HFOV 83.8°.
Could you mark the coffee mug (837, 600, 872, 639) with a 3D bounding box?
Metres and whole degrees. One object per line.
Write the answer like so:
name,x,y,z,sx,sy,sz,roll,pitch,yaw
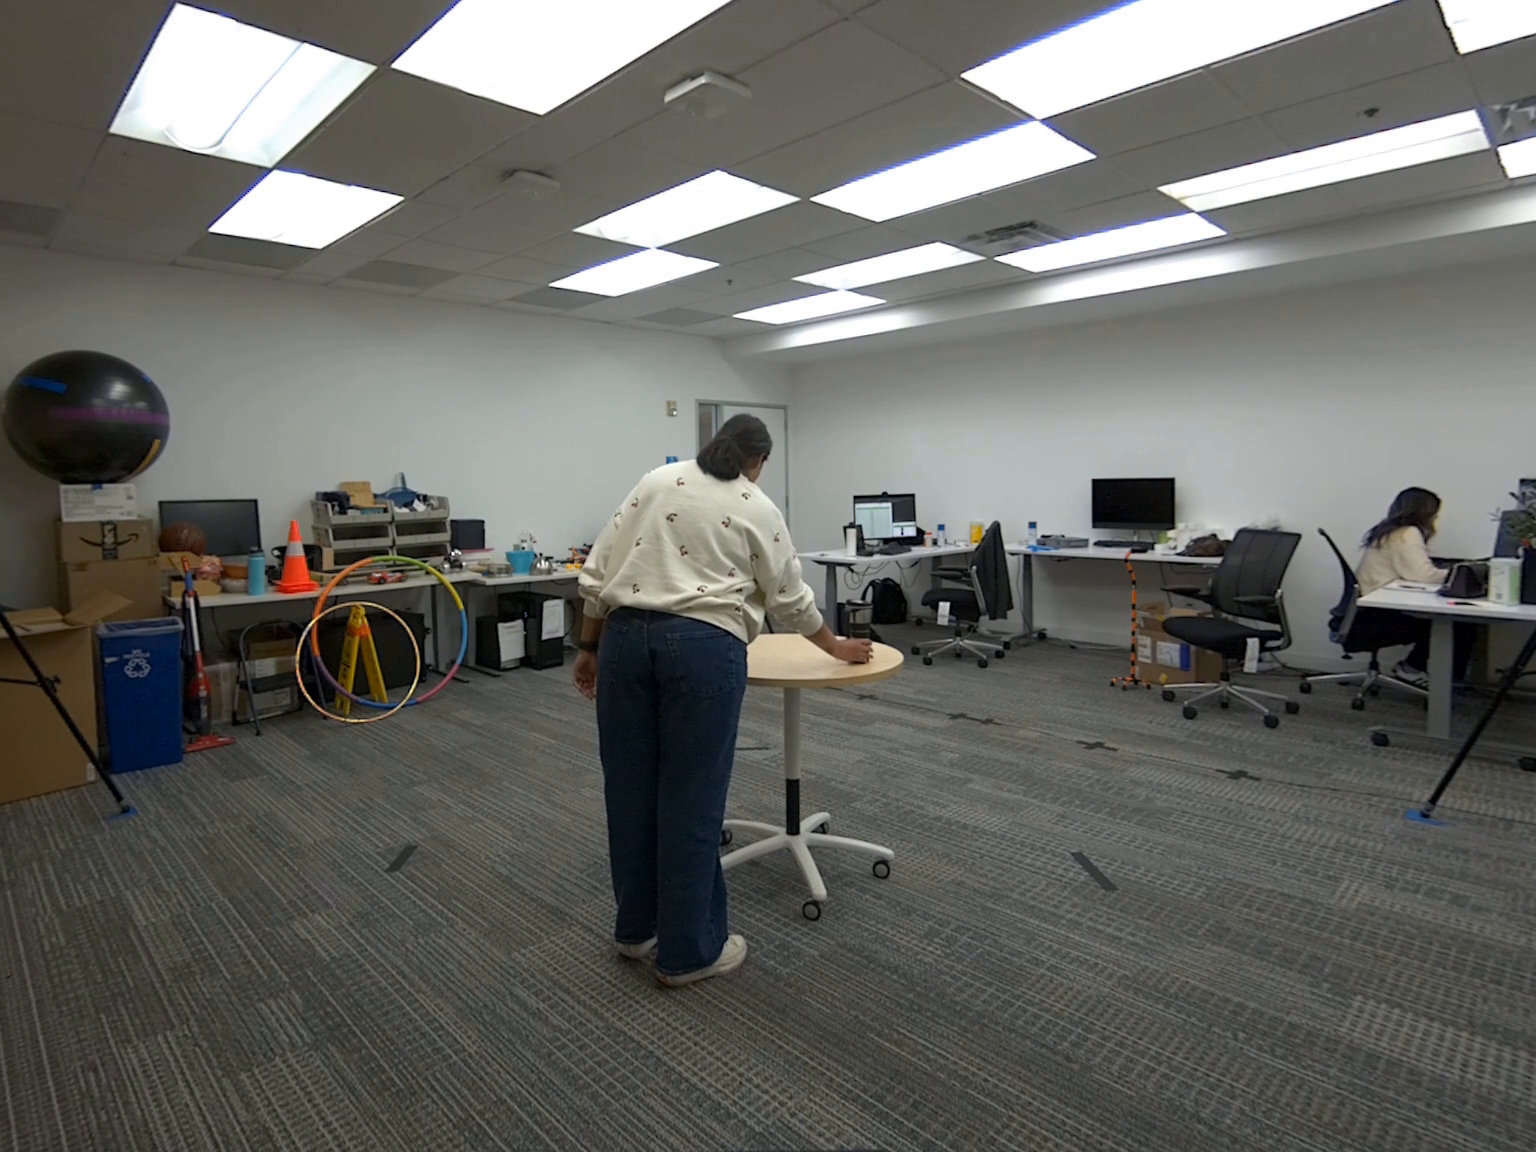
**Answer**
coffee mug,0.327,0.184,2.858,0.119,0.202,0.090,-9,8,-31
